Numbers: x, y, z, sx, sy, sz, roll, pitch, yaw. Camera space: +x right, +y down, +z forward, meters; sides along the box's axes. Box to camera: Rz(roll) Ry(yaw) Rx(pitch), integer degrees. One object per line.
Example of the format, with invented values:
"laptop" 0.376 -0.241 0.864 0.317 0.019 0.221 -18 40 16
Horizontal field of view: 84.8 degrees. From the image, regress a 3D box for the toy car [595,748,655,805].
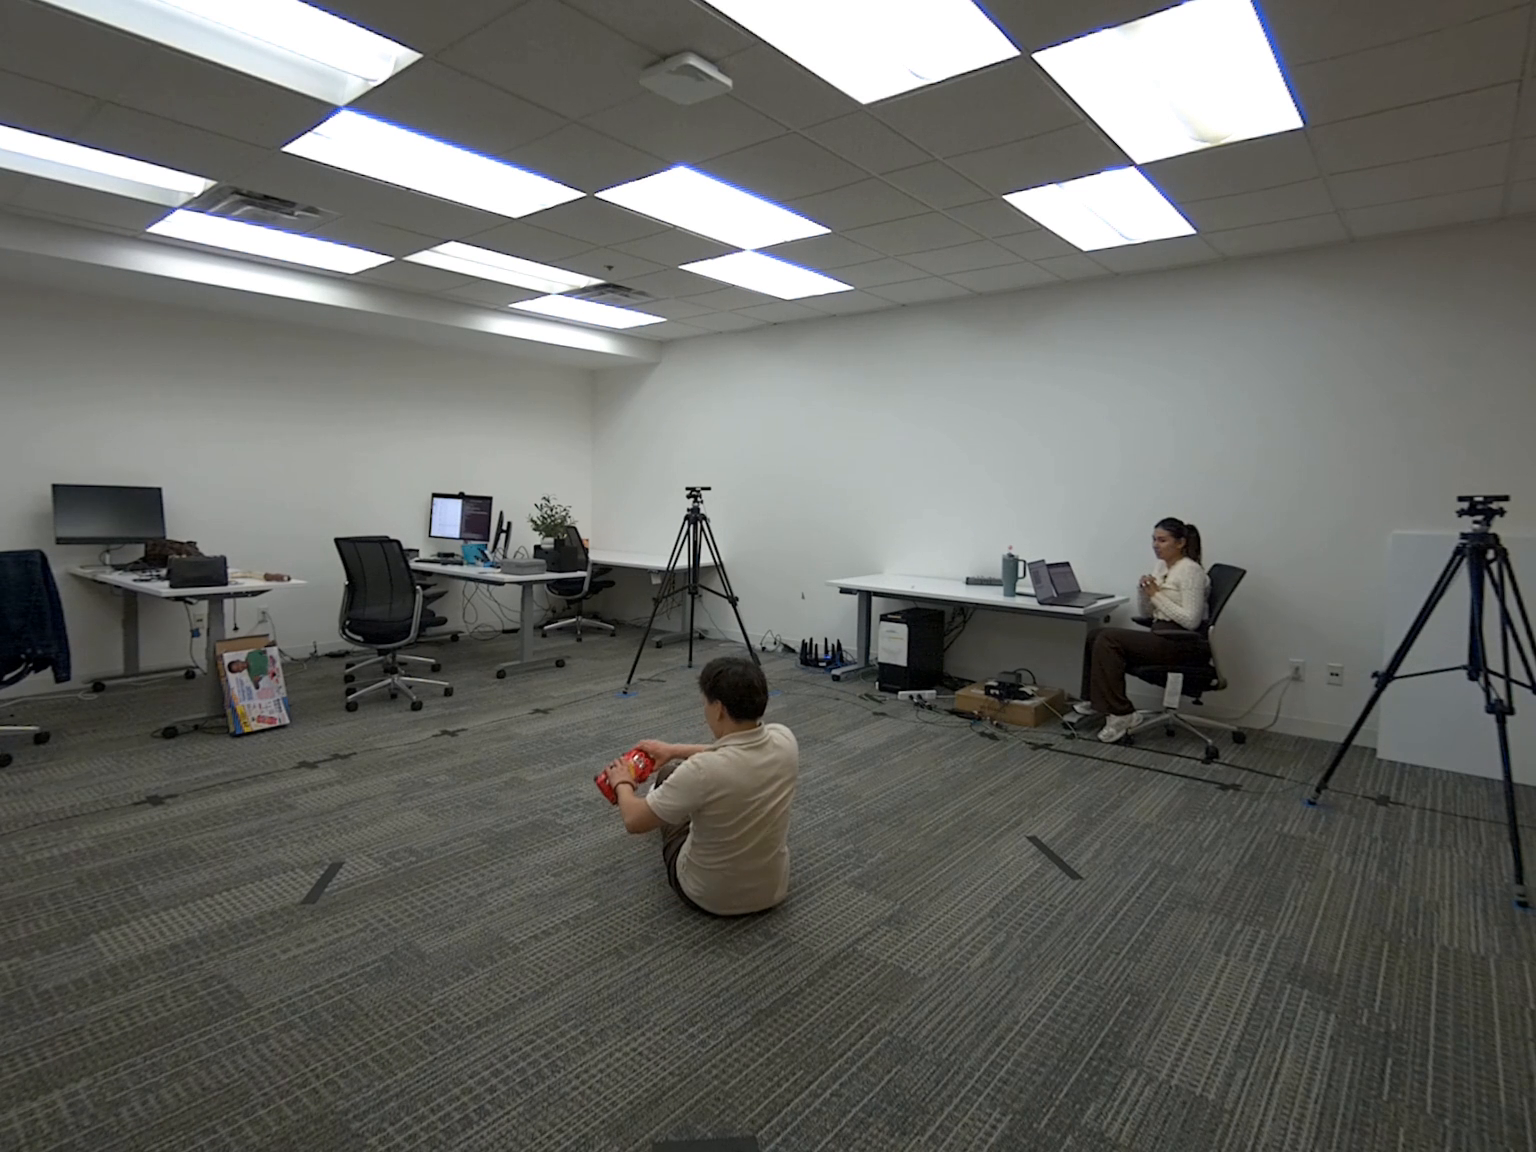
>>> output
"toy car" -0.494 0.690 2.964 0.252 0.132 0.083 -34 -12 -46
